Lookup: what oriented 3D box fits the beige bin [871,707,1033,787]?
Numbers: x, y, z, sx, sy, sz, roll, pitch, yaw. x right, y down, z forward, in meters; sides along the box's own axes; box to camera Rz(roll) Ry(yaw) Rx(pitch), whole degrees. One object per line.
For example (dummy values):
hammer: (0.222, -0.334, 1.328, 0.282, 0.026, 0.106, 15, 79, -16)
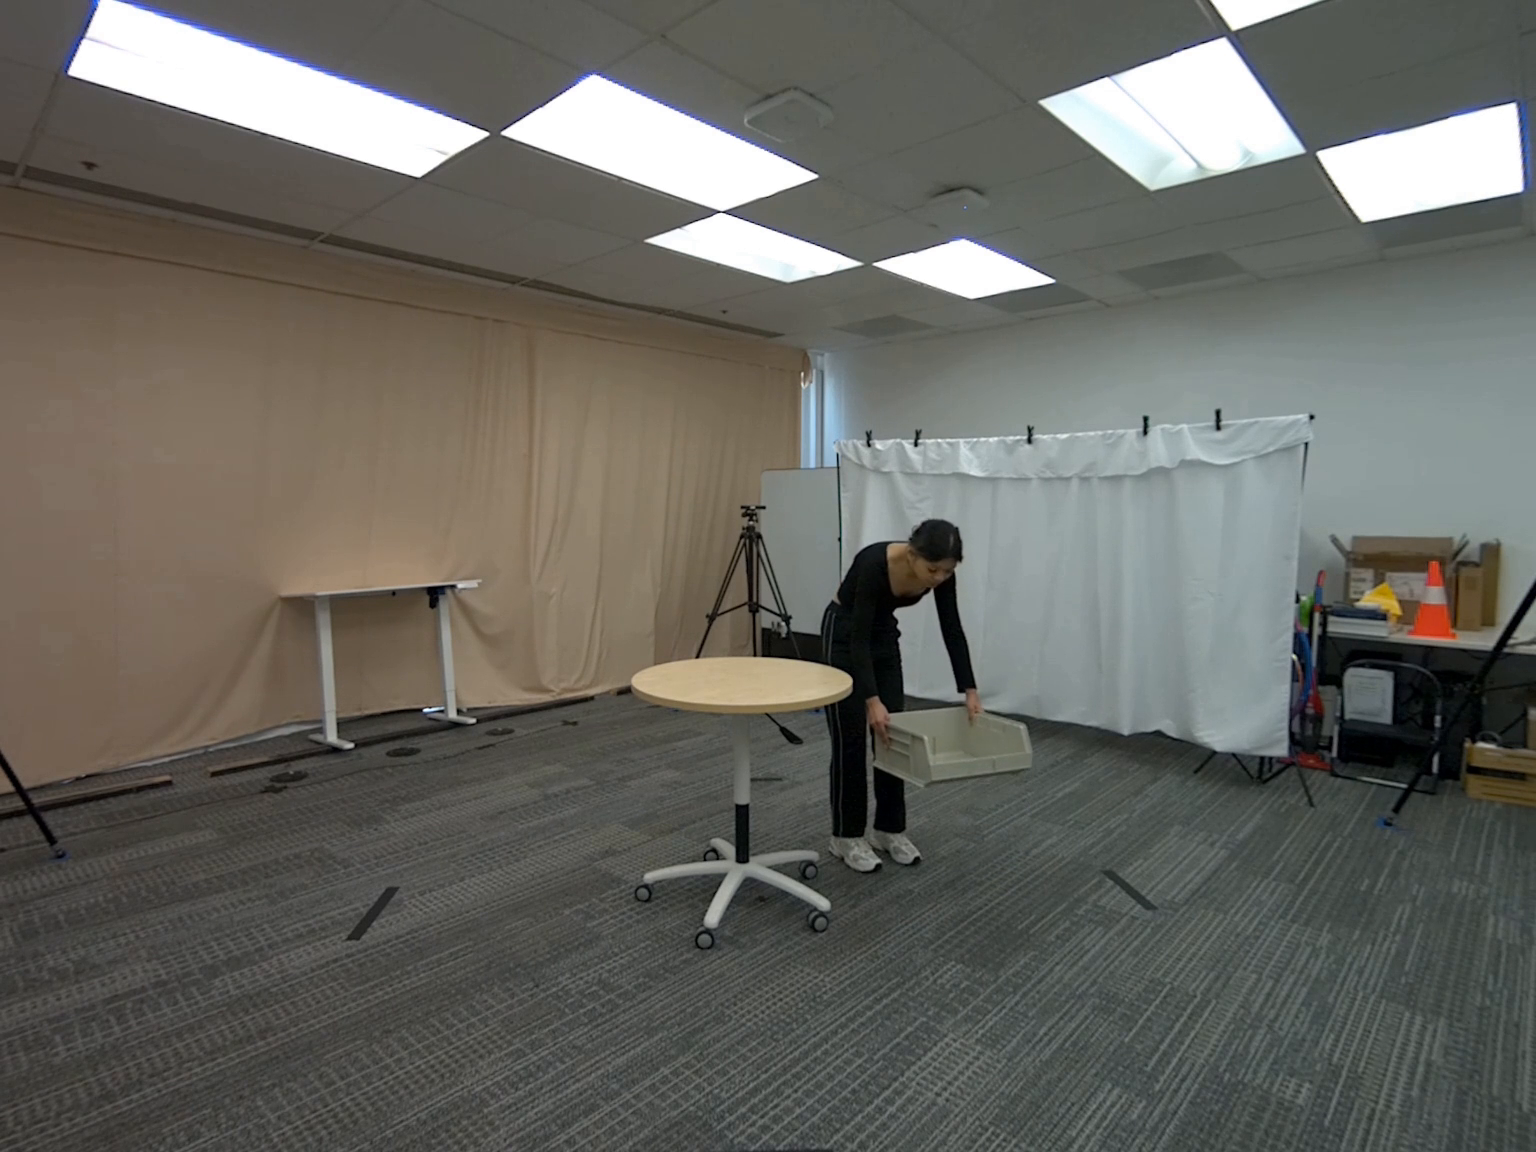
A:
beige bin: (0.647, 0.601, 2.984, 0.413, 0.189, 0.385, -3, 1, -23)
